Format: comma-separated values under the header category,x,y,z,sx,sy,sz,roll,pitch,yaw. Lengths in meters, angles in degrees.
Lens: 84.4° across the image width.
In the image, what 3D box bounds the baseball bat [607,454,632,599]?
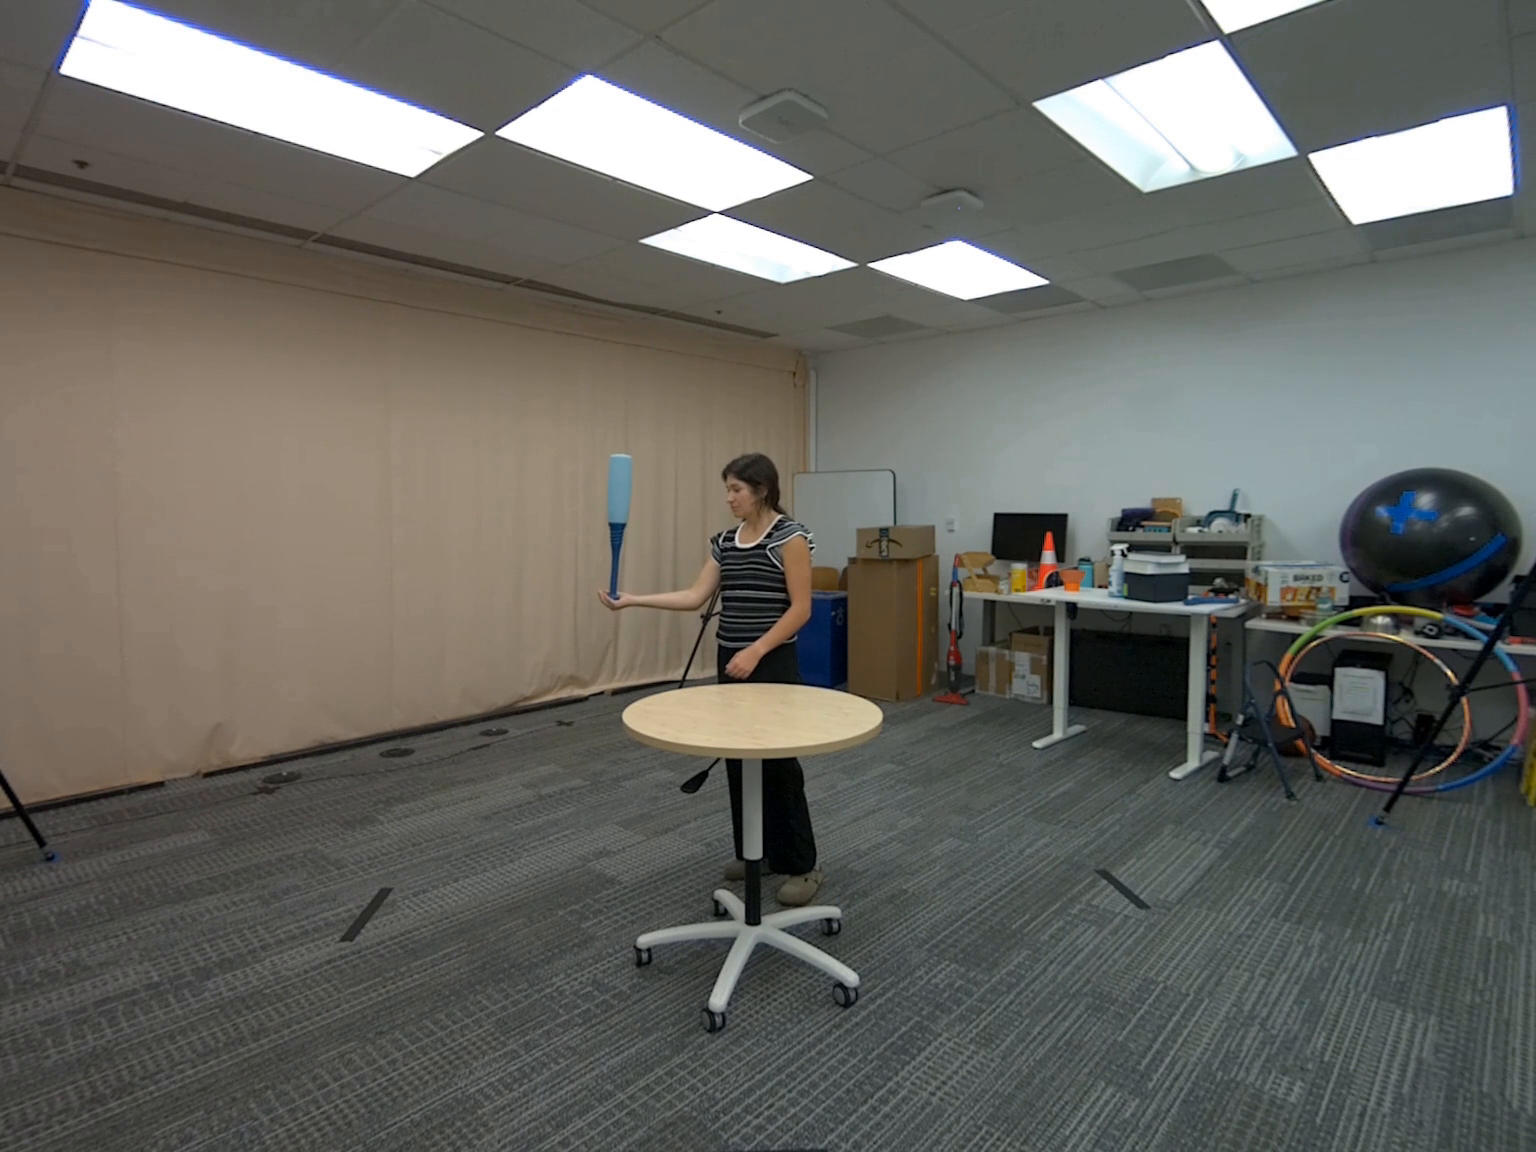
category,x,y,z,sx,sy,sz,roll,pitch,yaw
baseball bat,-0.556,-0.172,3.104,0.089,0.543,0.089,5,1,-2
